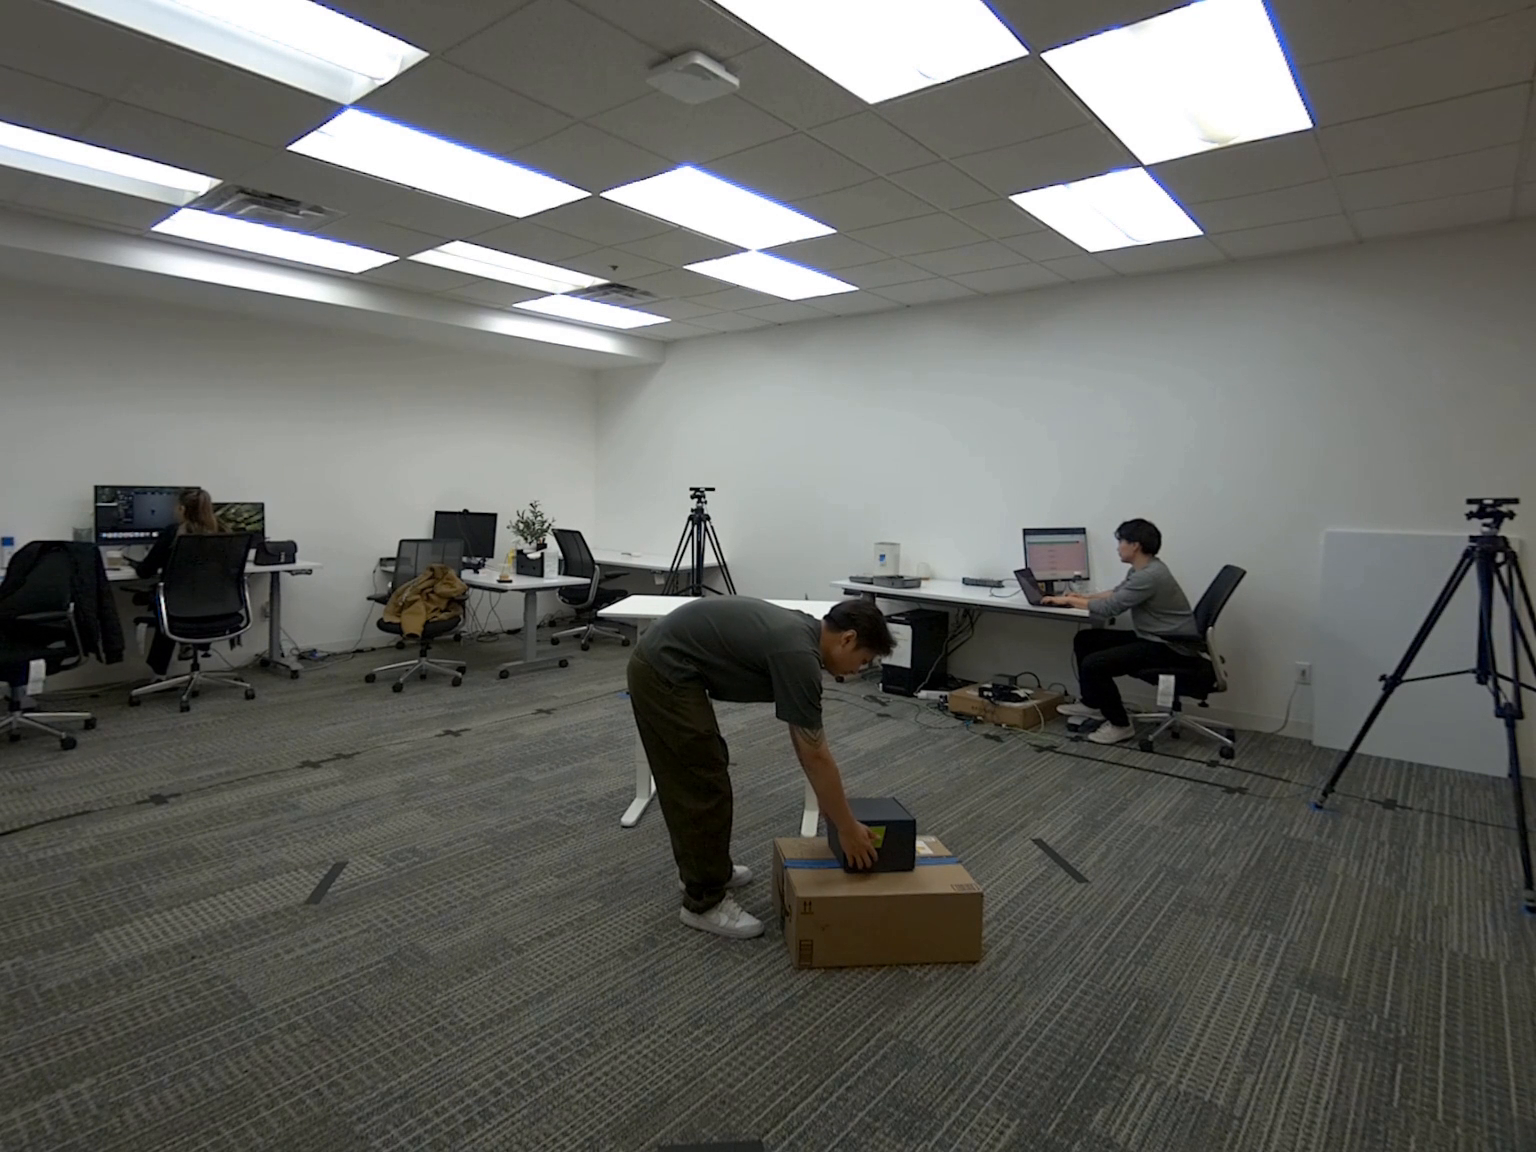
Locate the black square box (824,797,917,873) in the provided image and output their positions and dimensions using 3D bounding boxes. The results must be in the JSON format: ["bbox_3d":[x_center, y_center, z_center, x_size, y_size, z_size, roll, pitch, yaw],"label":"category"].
[{"bbox_3d":[0.334,0.823,2.723,0.226,0.155,0.219,1,3,-8],"label":"black square box"}]
